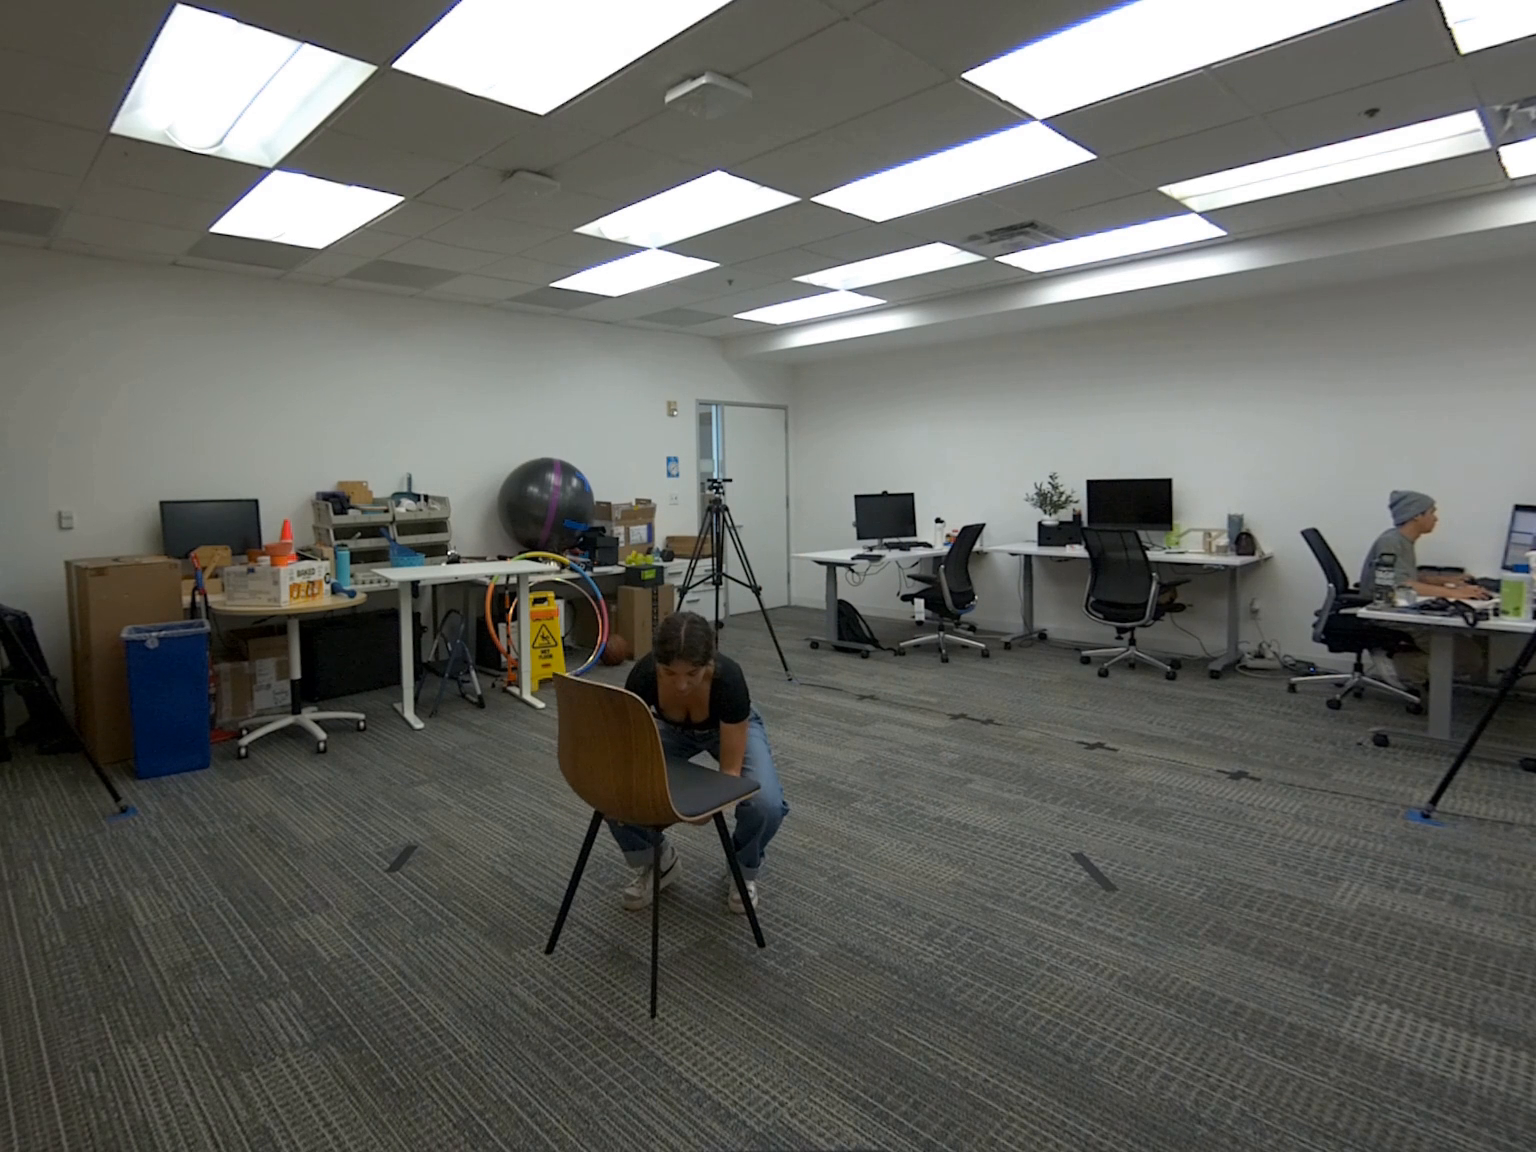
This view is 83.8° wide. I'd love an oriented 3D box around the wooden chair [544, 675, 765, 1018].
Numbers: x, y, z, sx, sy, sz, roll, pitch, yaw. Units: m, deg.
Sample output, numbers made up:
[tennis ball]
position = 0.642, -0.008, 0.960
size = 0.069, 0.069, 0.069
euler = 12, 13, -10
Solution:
[wooden chair]
position = -0.318, 0.656, 2.440
size = 0.492, 0.872, 0.511
euler = 3, 8, 40
